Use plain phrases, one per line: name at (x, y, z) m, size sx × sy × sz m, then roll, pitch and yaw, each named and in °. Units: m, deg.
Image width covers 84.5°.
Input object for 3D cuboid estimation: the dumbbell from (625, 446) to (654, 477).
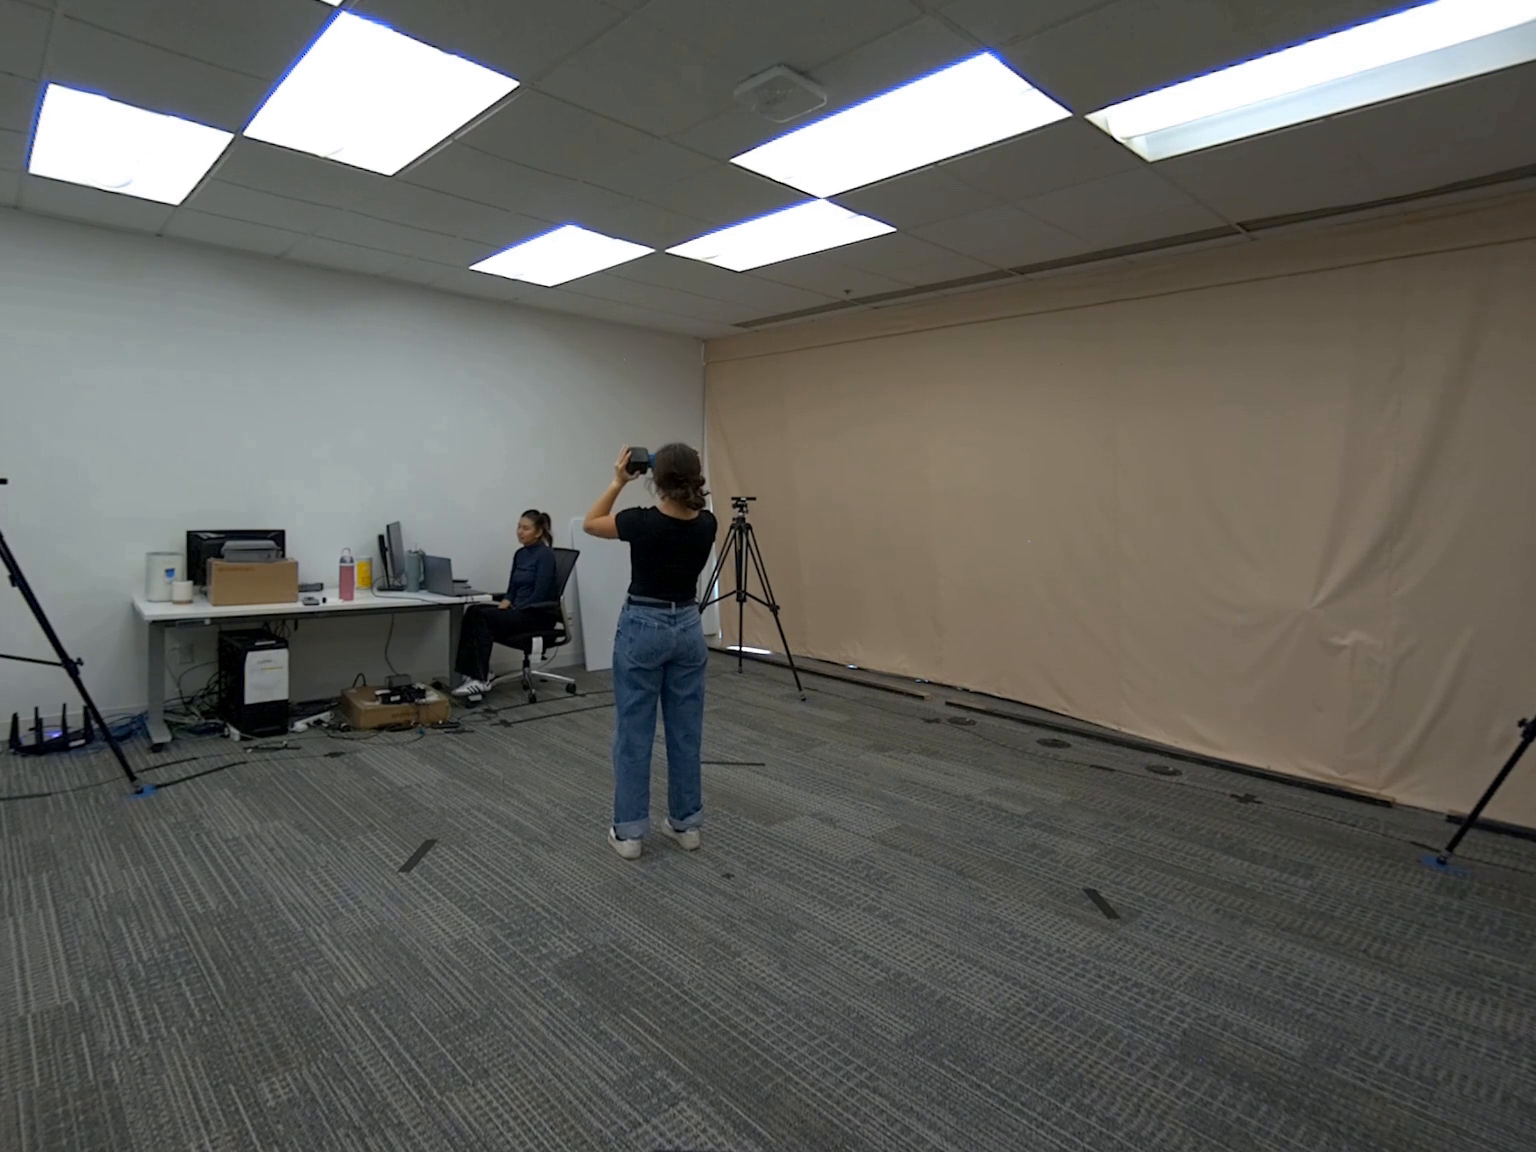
dumbbell at (-0.435, -0.468, 3.370) m, size 0.288 × 0.125 × 0.109 m, roll -3°, pitch -22°, yaw -26°
